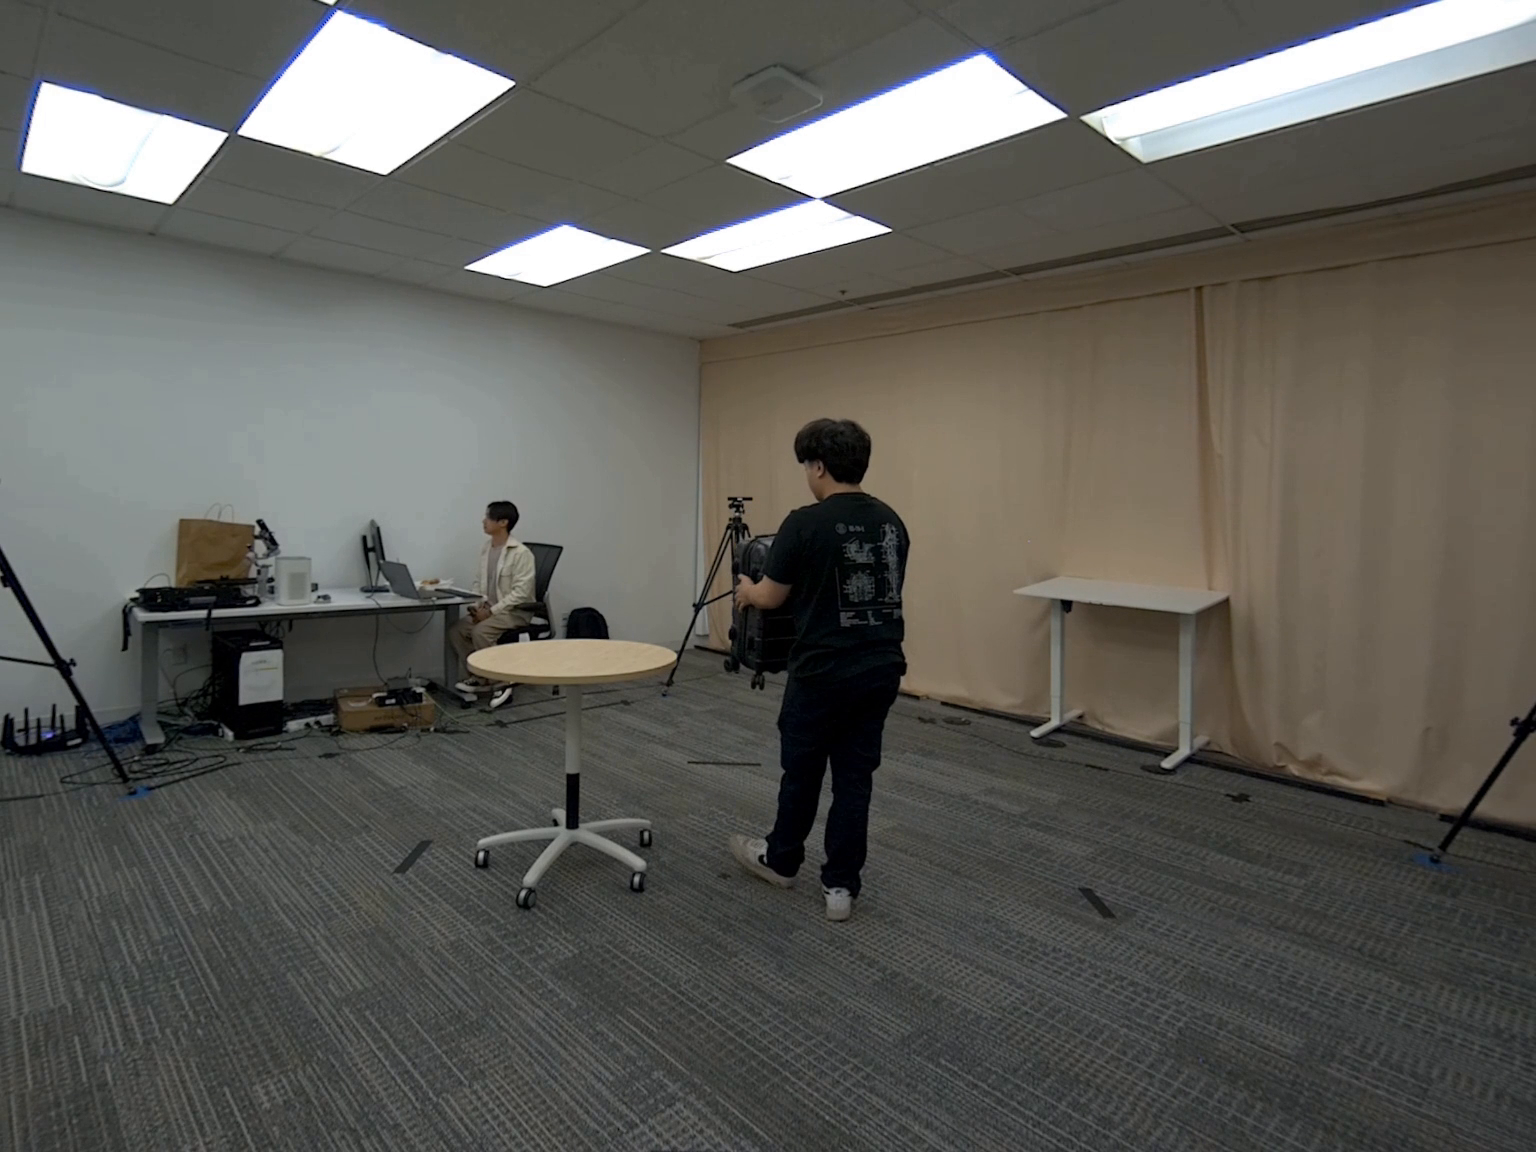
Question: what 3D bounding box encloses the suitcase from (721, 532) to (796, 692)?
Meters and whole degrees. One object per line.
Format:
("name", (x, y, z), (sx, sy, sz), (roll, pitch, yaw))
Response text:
("suitcase", (0.058, 0.118, 3.224), (0.368, 0.546, 0.254), (-1, 8, -28))
